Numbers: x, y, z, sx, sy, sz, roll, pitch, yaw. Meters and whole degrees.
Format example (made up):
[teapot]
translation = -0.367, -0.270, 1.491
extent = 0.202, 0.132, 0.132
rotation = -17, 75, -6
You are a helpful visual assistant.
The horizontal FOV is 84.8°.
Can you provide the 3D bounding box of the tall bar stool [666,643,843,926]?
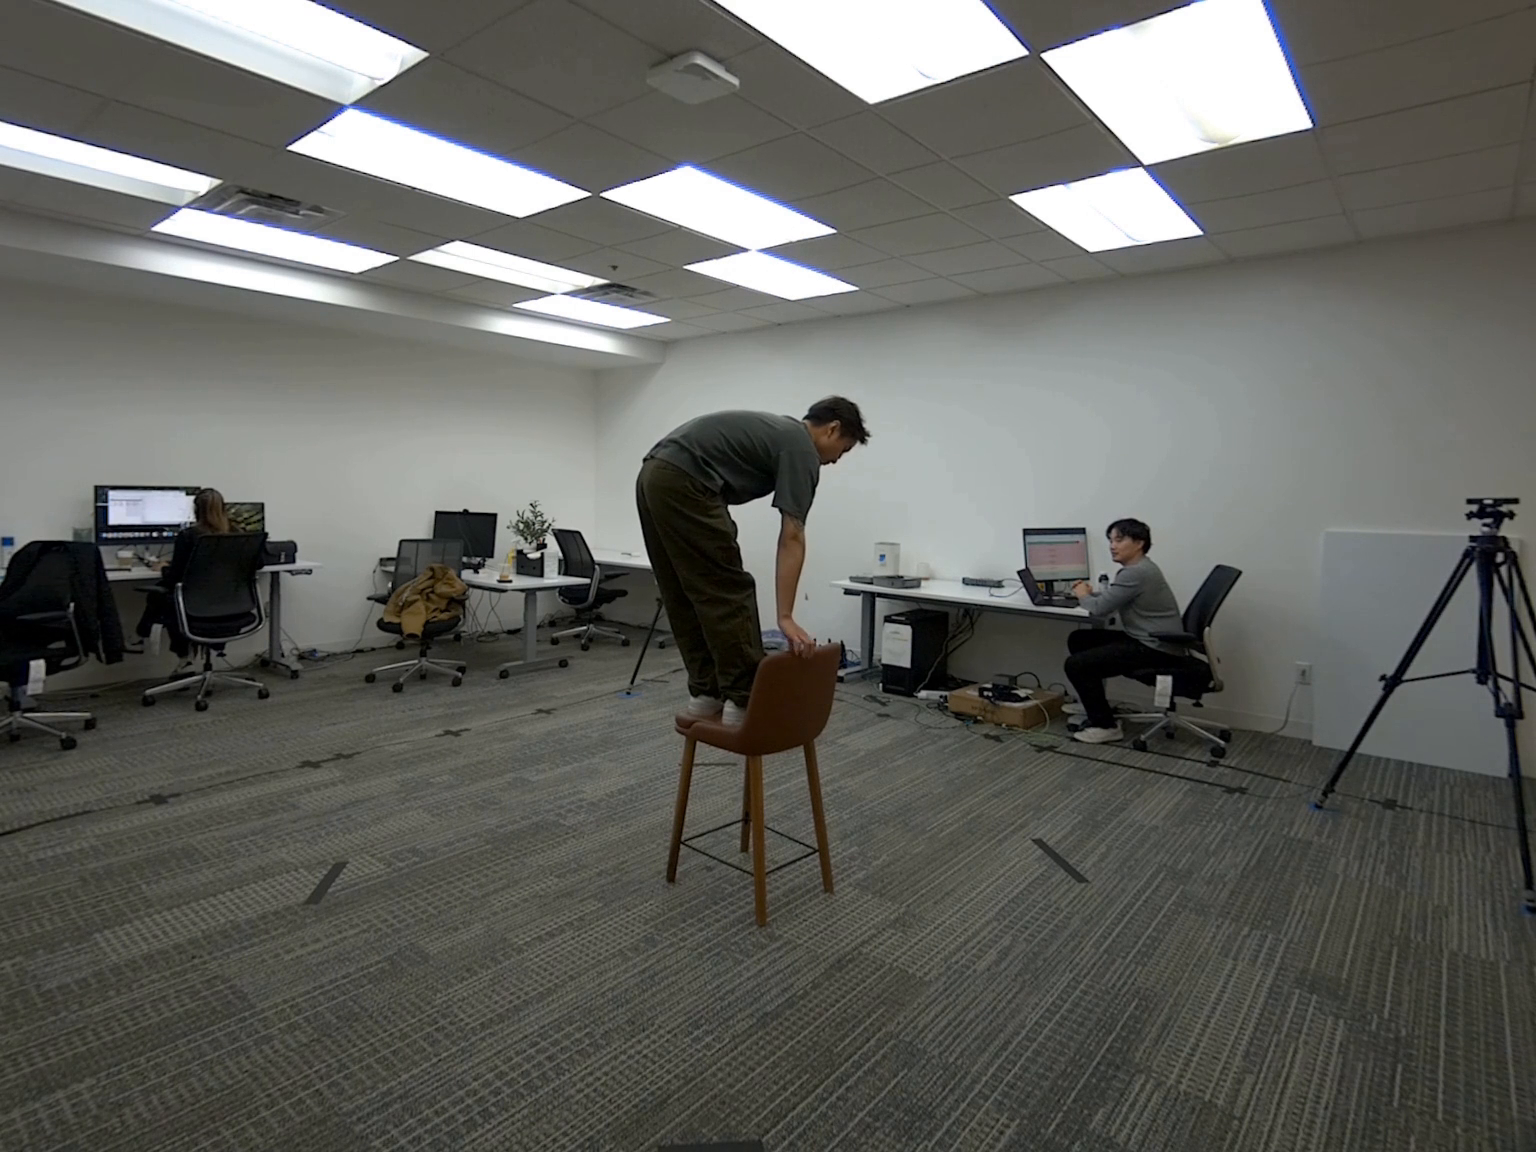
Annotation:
[tall bar stool]
translation = -0.052, 0.646, 2.958
extent = 0.484, 0.886, 0.442
rotation = 7, 6, 43
